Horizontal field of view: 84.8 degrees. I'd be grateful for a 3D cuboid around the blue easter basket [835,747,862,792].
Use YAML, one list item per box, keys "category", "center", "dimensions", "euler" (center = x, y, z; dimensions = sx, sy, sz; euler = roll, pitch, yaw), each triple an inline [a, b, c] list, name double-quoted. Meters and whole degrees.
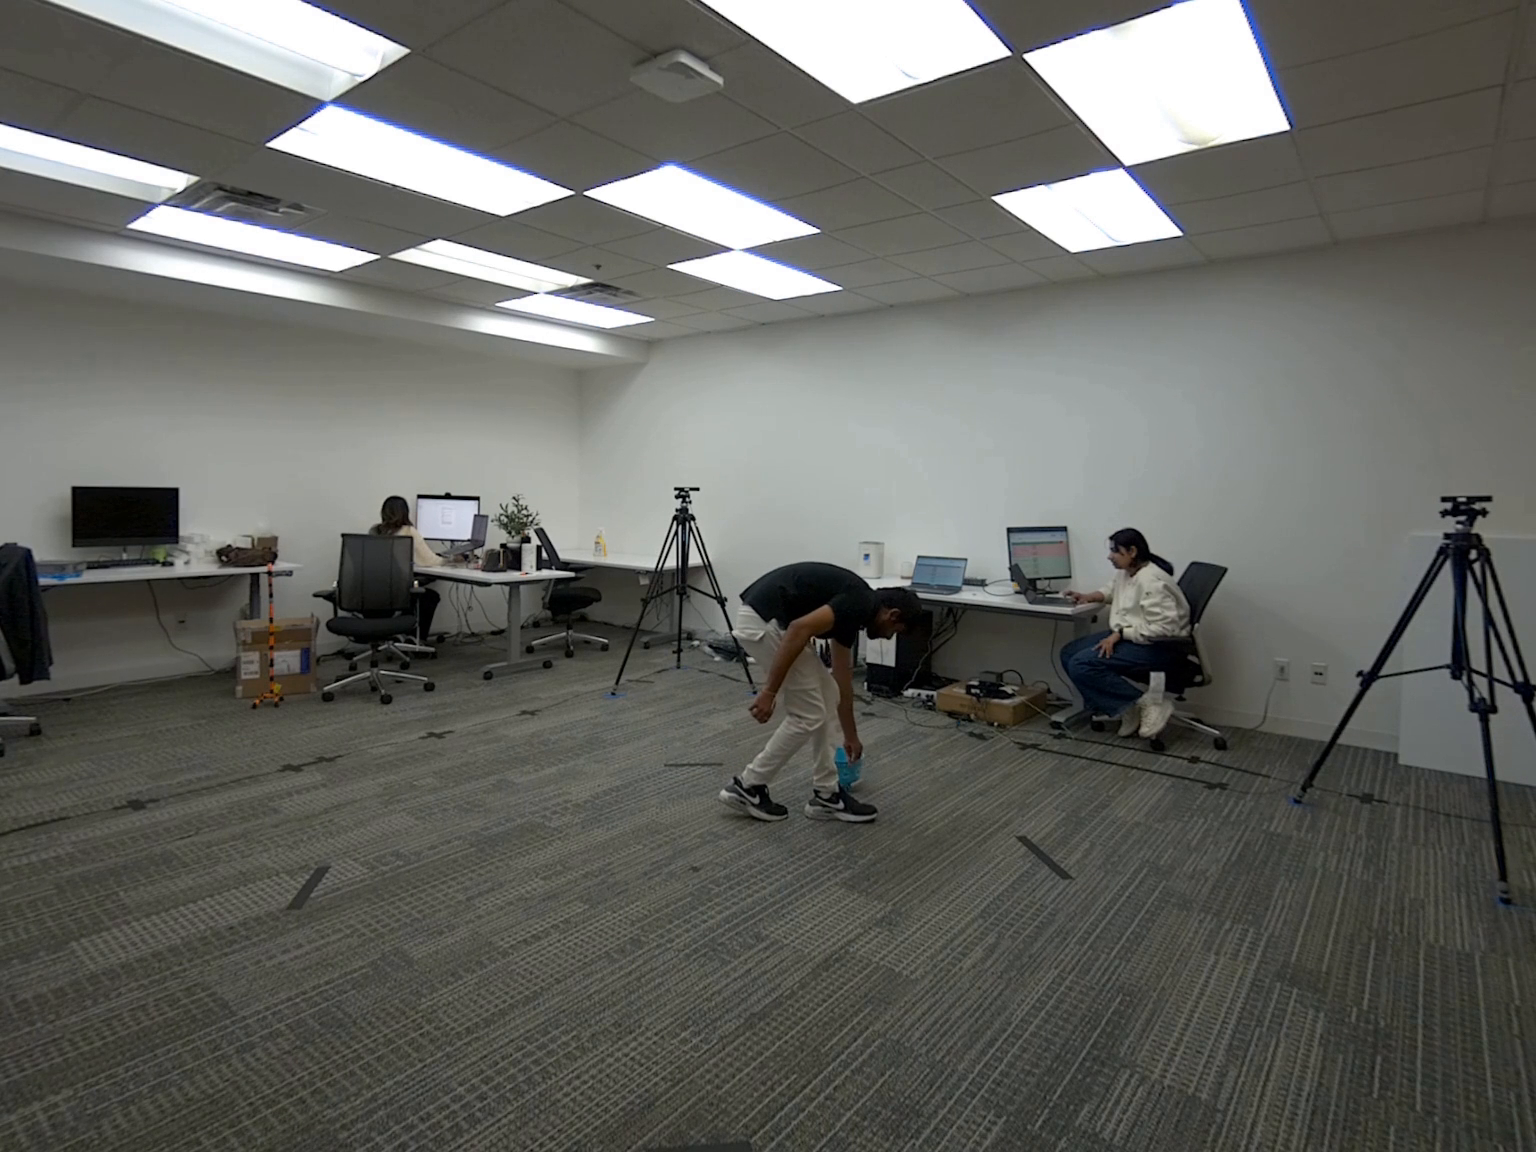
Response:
- category: "blue easter basket"
  center: [0.327, 0.903, 4.010]
  dimensions: [0.243, 0.155, 0.245]
  euler: [0, 6, -2]
